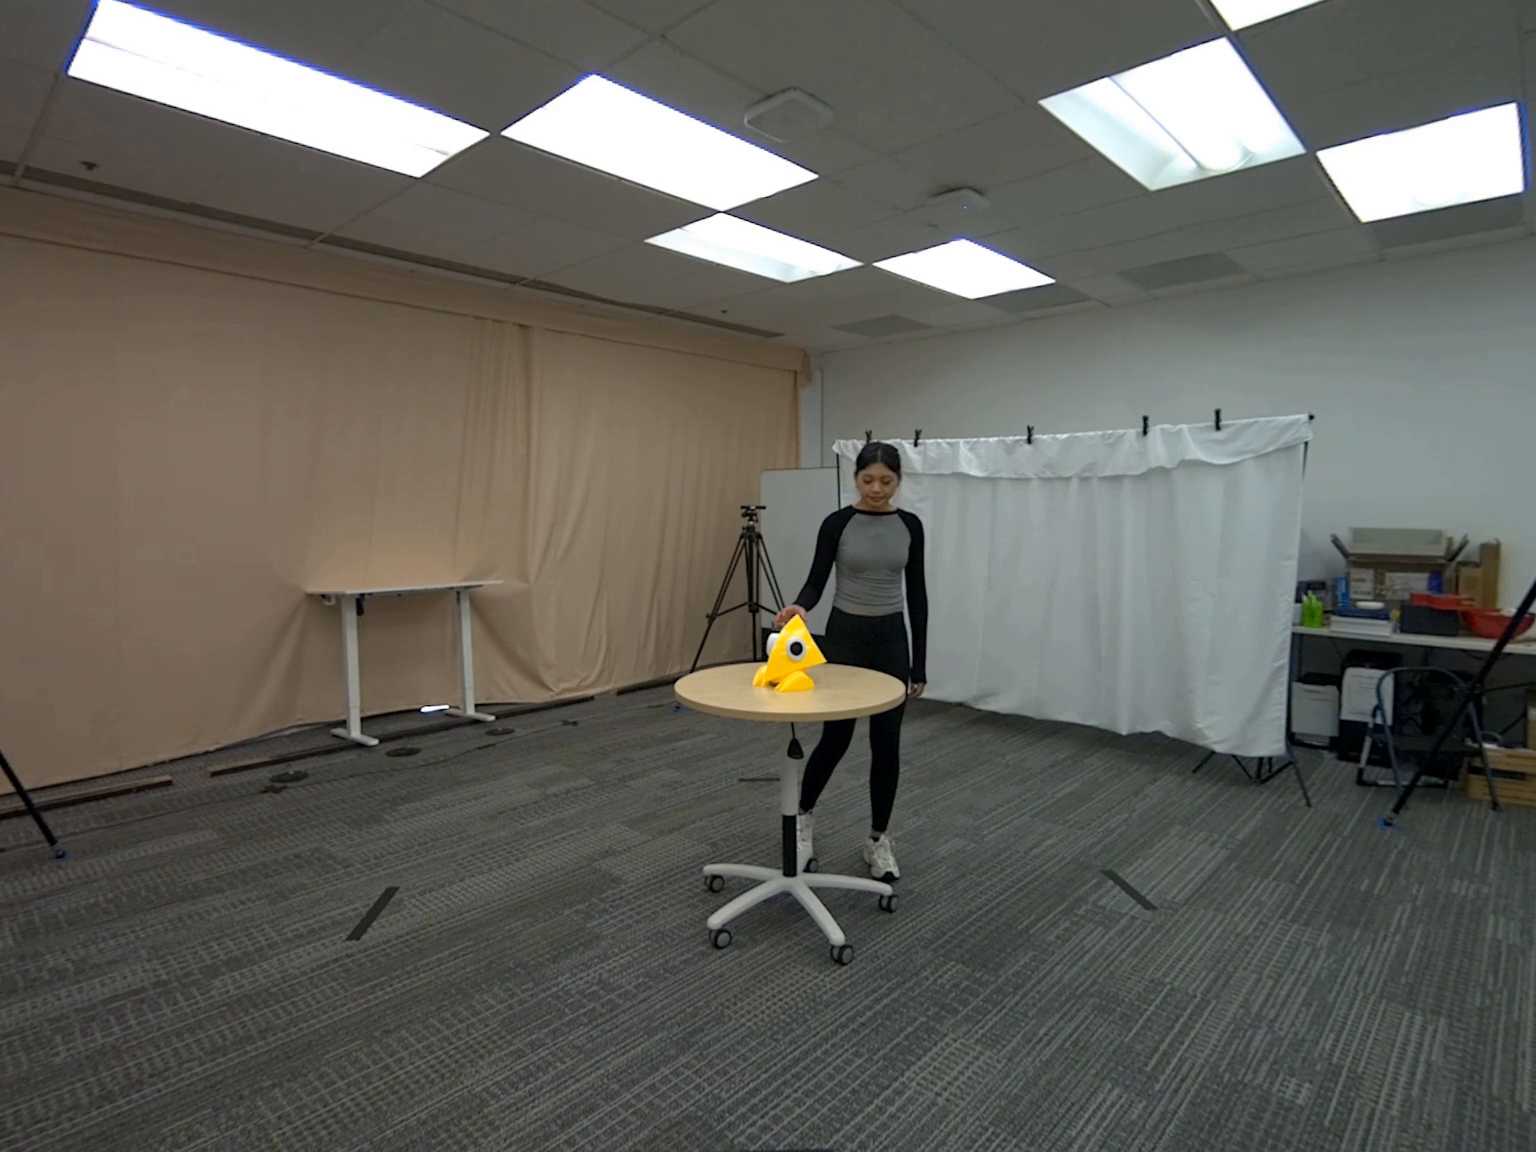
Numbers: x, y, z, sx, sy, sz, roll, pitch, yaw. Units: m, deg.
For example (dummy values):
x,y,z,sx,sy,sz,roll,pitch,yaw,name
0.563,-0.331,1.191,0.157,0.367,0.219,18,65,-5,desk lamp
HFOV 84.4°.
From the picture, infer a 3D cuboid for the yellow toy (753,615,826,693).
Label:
x,y,z,sx,sy,sz,roll,pitch,yaw,name
0.062,0.251,2.807,0.187,0.230,0.211,-5,6,-43,yellow toy
